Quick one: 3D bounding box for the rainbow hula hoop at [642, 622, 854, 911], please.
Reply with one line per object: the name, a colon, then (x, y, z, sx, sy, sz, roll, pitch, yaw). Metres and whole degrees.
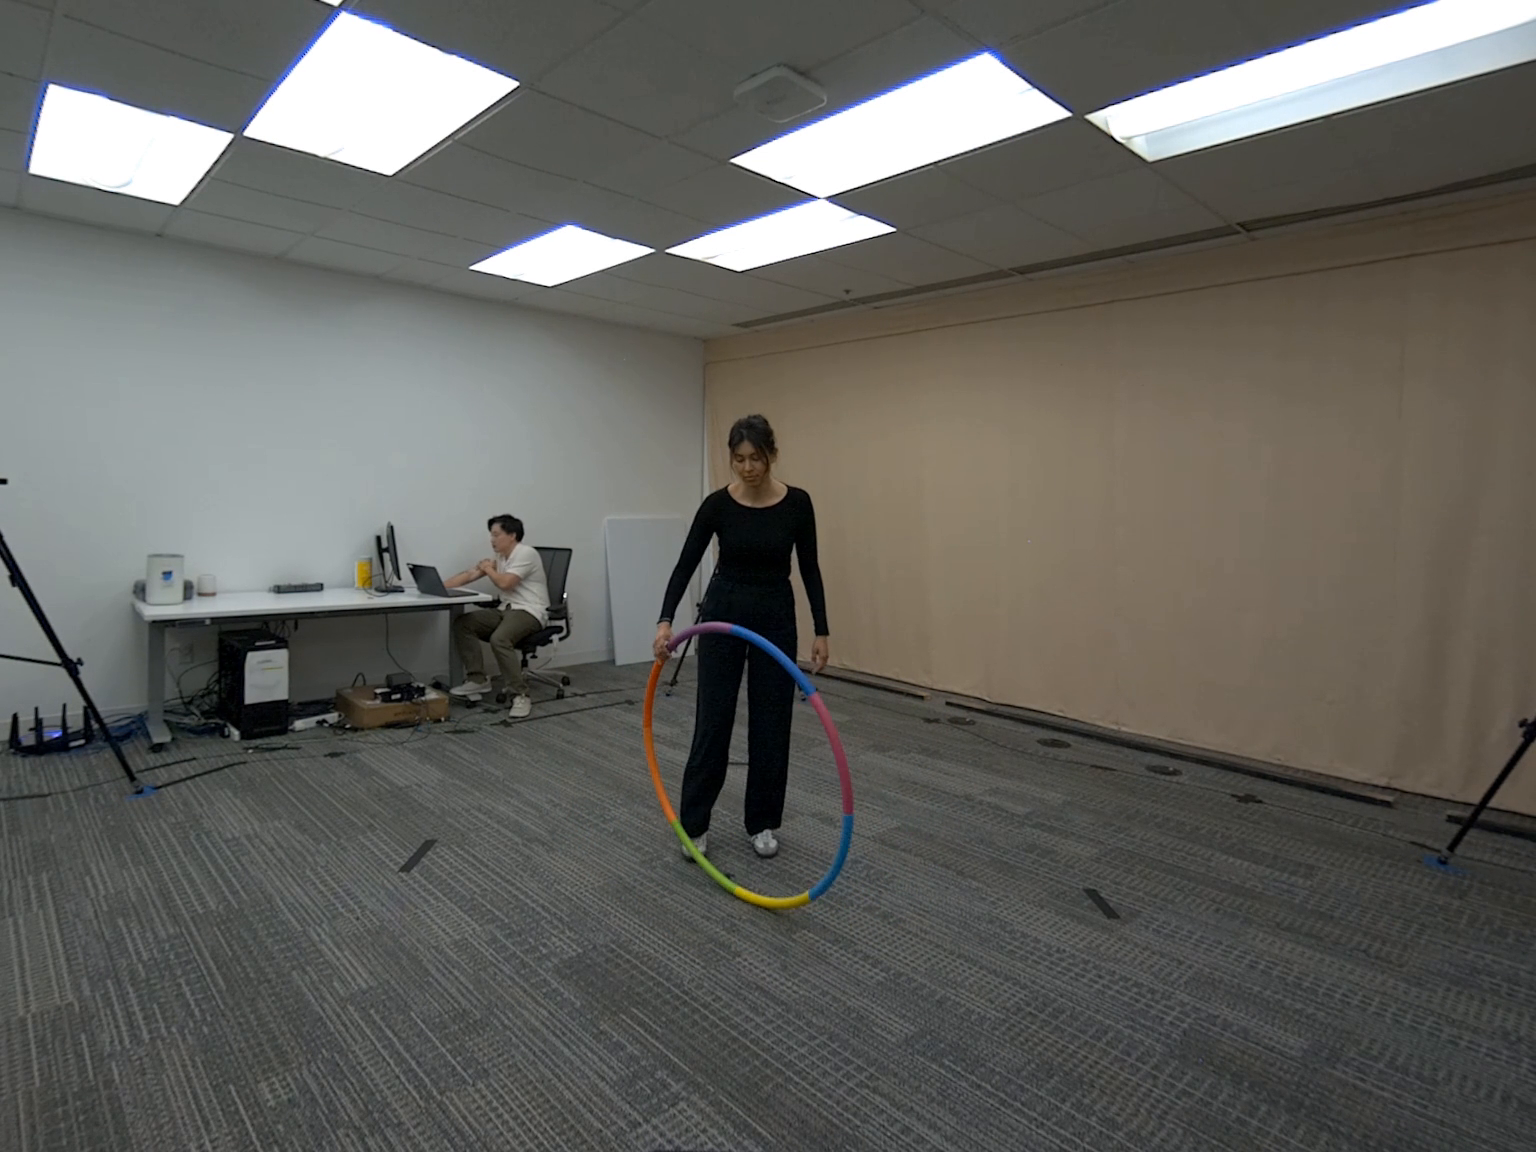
rainbow hula hoop: (-0.111, 0.648, 2.859, 0.035, 0.972, 1.004, -11, 11, -44)
